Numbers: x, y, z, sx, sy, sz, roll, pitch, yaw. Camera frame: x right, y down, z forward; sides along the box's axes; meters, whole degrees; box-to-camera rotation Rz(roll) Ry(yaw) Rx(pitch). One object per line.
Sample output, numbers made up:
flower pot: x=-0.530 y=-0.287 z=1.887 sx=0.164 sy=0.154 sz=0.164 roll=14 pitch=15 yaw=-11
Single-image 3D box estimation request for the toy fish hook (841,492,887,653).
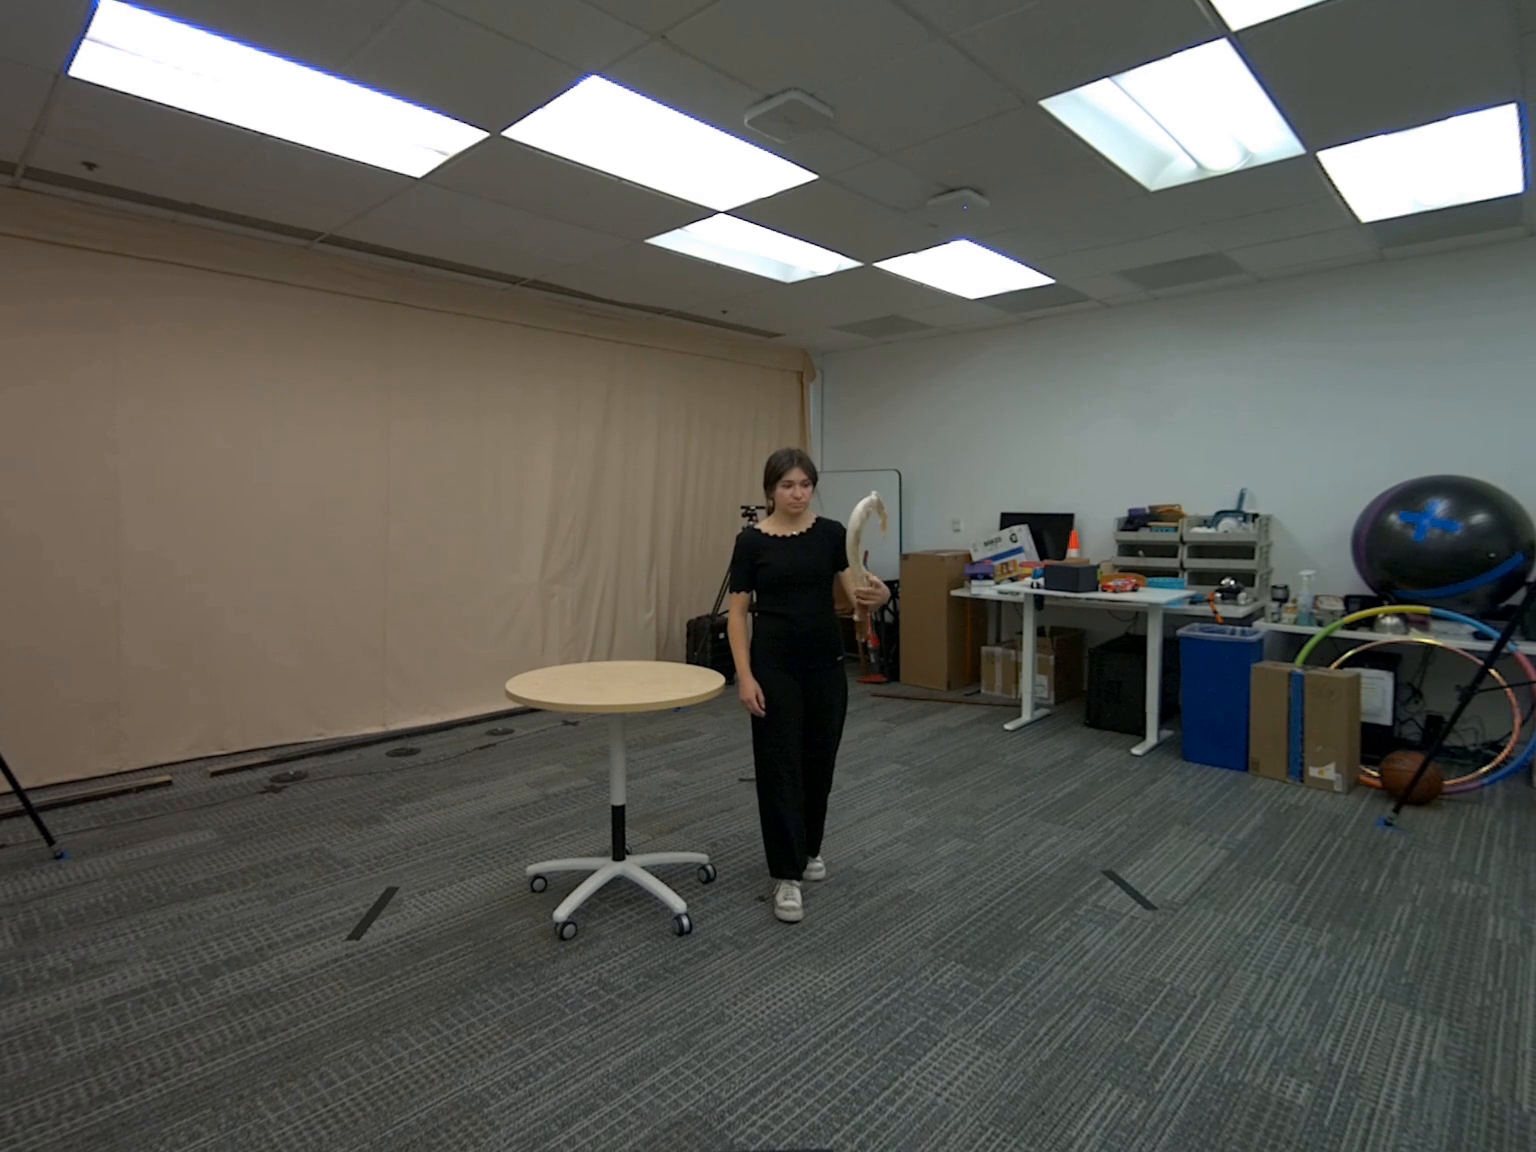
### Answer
toy fish hook: x=0.319 y=0.023 z=2.643 sx=0.050 sy=0.496 sz=0.221 roll=20 pitch=42 yaw=34
